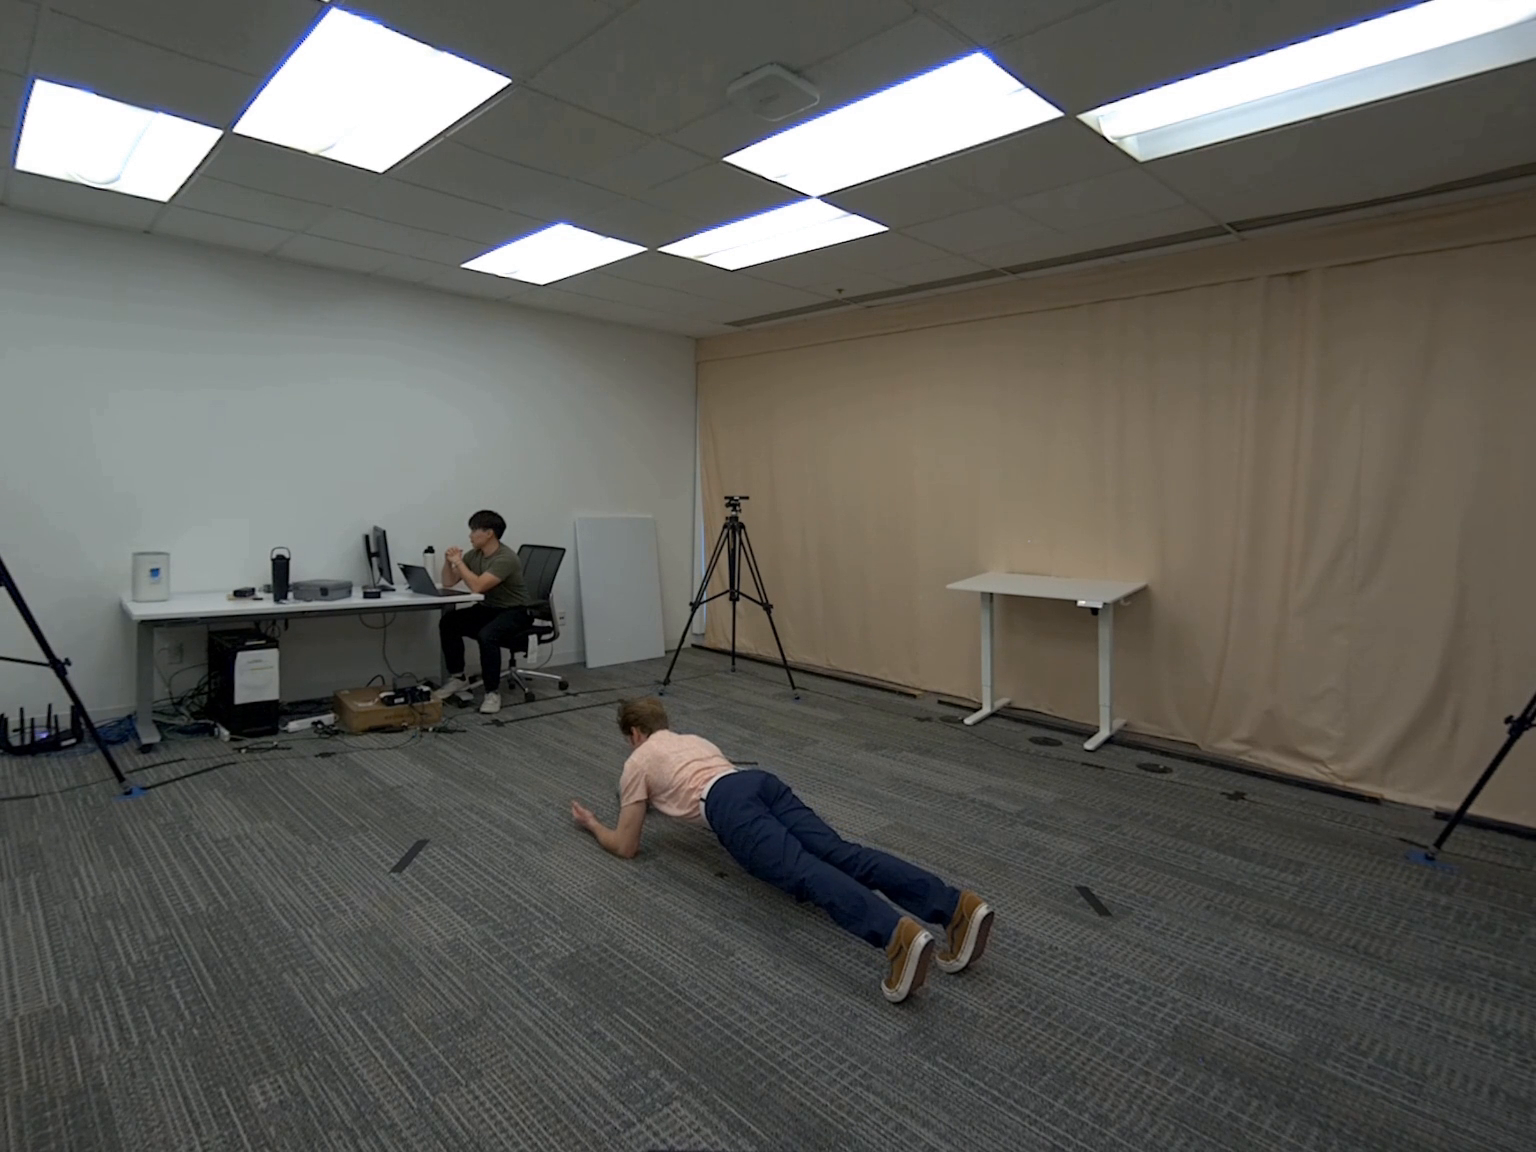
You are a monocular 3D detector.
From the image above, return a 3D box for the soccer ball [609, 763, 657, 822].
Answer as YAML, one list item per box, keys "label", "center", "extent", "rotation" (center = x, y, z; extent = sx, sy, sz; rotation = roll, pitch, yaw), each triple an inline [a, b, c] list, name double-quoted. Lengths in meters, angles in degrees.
- label: "soccer ball"
  center: [-0.589, 0.945, 3.717]
  extent: [0.187, 0.187, 0.188]
  rotation: [1, 4, -1]
